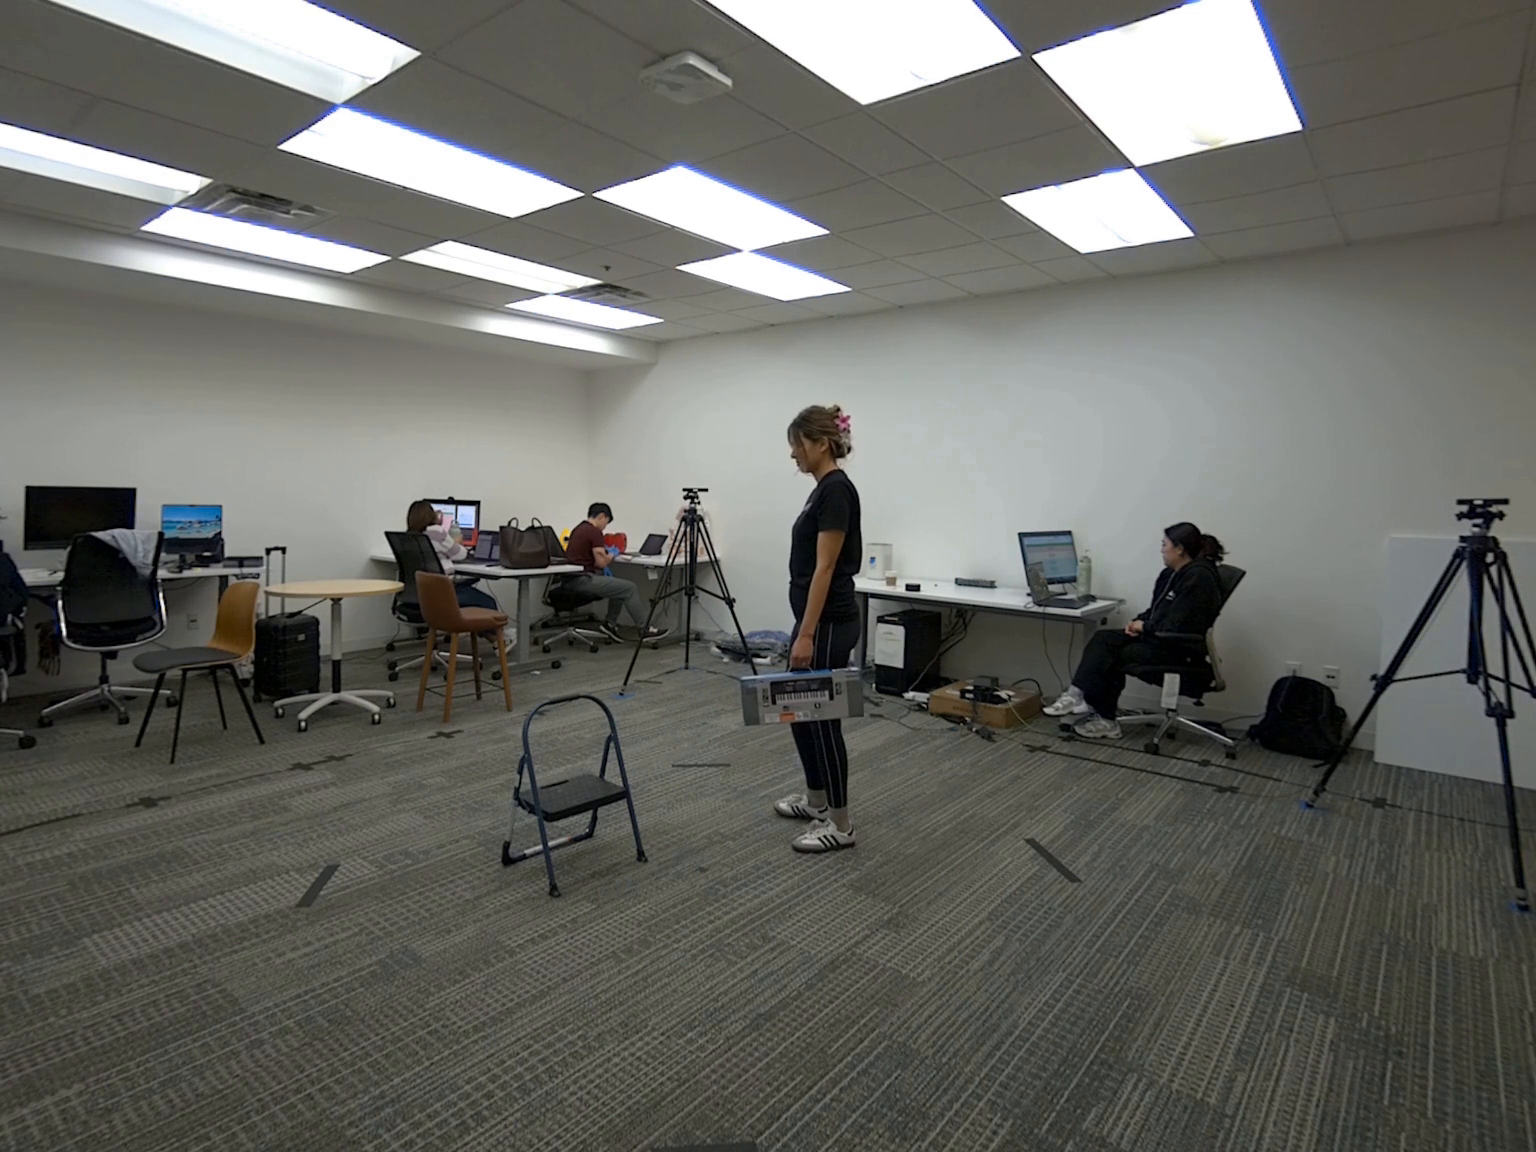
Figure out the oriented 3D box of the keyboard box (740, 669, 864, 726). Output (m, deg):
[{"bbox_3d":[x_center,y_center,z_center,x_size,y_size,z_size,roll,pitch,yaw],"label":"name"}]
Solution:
[{"bbox_3d":[0.114,0.434,3.108,0.437,0.176,0.059,-6,1,0],"label":"keyboard box"}]
